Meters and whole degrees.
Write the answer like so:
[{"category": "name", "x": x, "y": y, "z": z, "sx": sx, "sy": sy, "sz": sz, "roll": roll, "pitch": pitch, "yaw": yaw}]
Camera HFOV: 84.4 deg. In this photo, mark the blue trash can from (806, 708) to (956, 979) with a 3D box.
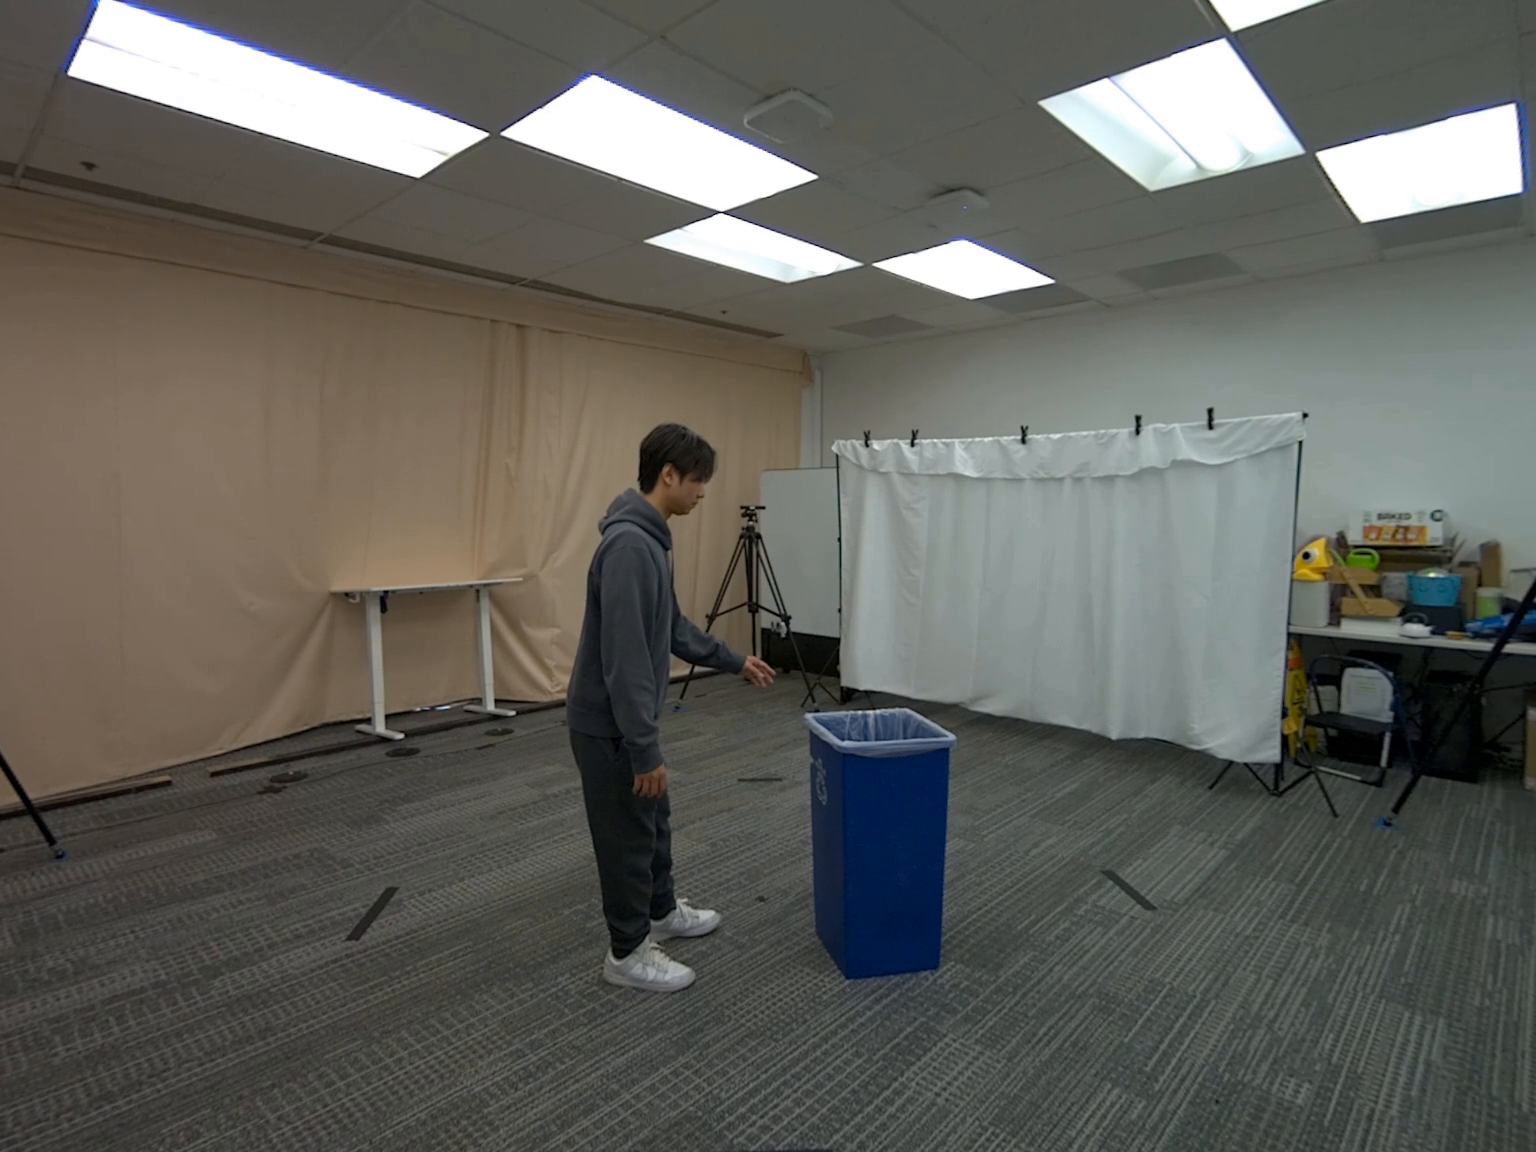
[{"category": "blue trash can", "x": 0.348, "y": 0.816, "z": 2.620, "sx": 0.373, "sy": 0.712, "sz": 0.380, "roll": -1, "pitch": 3, "yaw": -13}]
